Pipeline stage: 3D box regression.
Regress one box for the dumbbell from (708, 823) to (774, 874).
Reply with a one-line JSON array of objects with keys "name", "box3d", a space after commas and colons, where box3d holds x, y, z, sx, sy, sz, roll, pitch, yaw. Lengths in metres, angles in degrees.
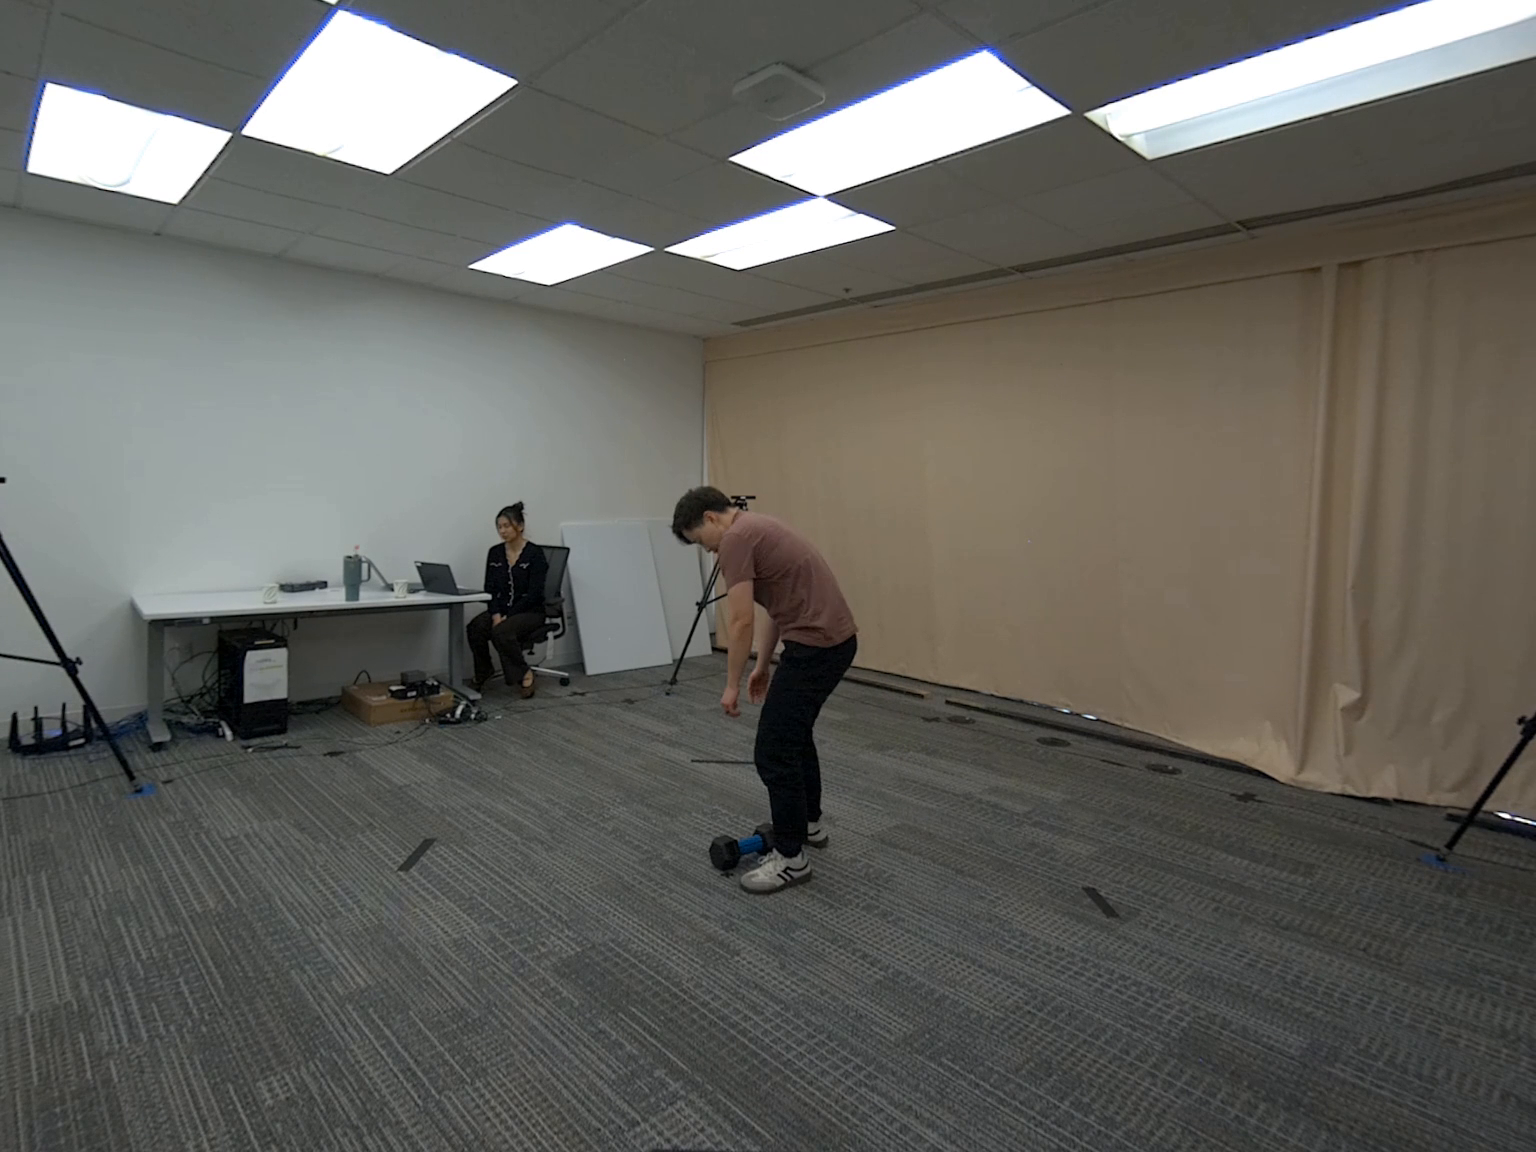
[{"name": "dumbbell", "box3d": [-0.088, 1.037, 3.229, 0.287, 0.125, 0.109, -3, -24, -39]}]
